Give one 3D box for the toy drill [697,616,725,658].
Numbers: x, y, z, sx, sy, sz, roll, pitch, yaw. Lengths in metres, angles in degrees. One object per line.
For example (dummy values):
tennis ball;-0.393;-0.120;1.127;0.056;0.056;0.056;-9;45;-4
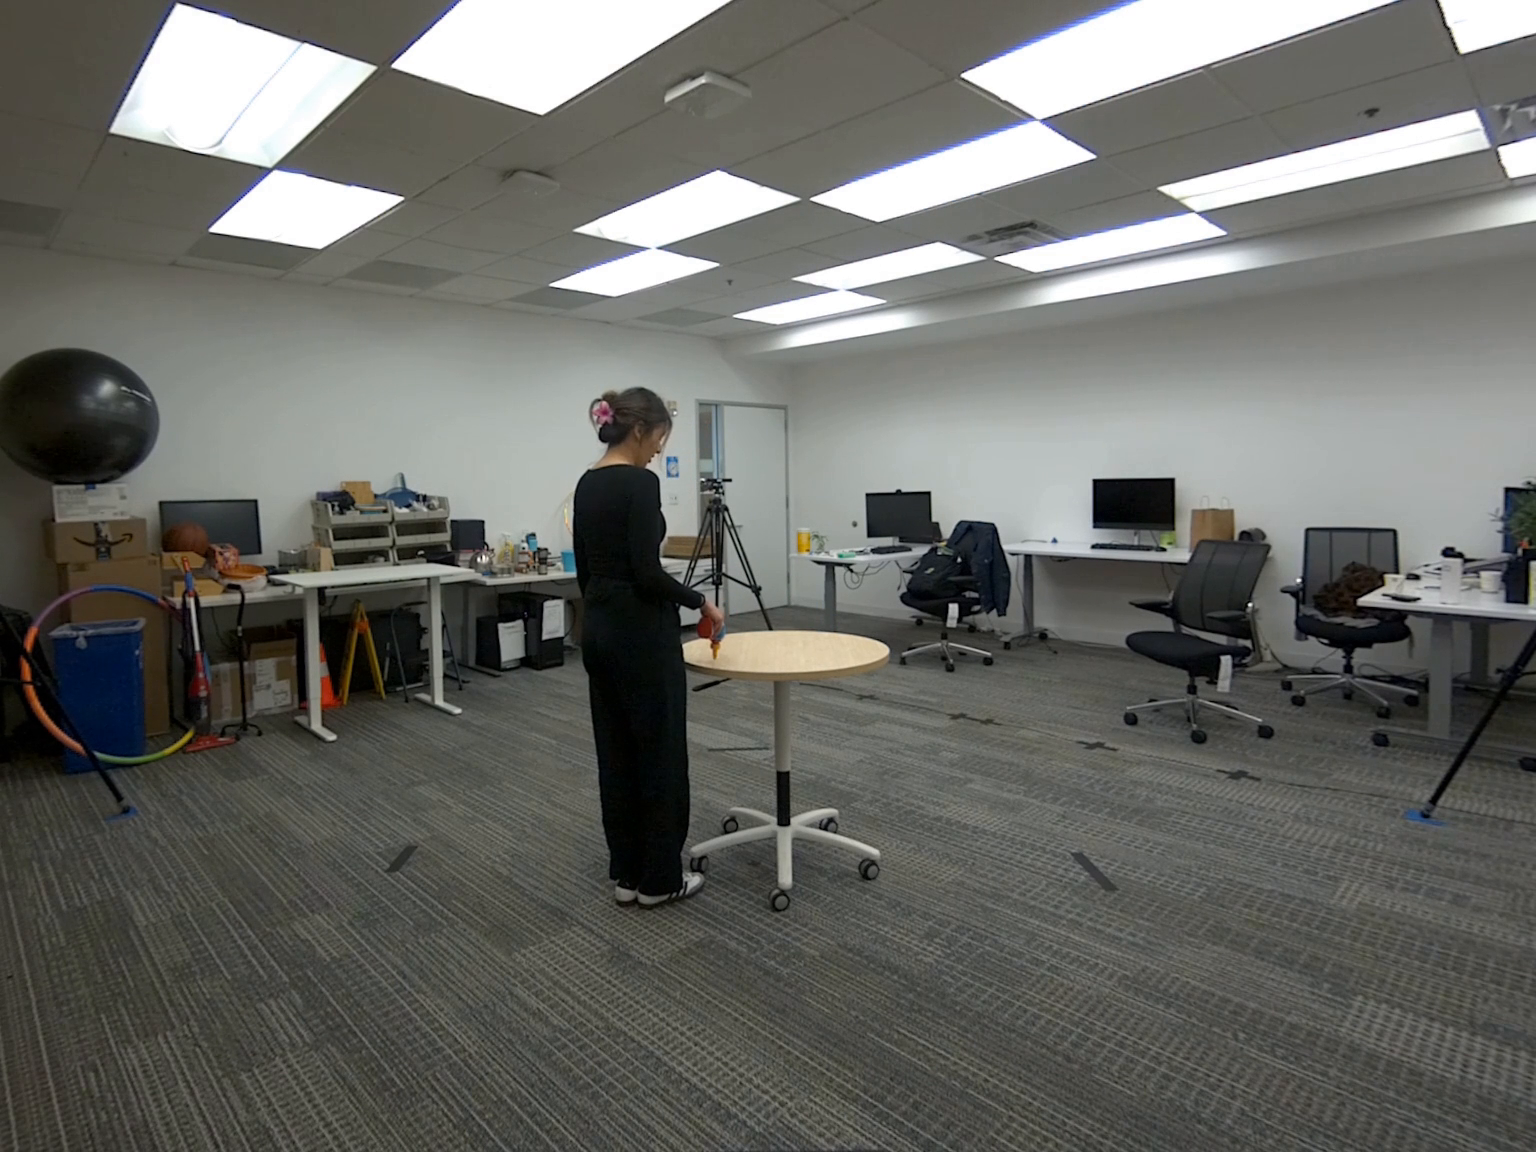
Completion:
toy drill;-0.186;0.198;2.837;0.062;0.169;0.144;4;6;17
